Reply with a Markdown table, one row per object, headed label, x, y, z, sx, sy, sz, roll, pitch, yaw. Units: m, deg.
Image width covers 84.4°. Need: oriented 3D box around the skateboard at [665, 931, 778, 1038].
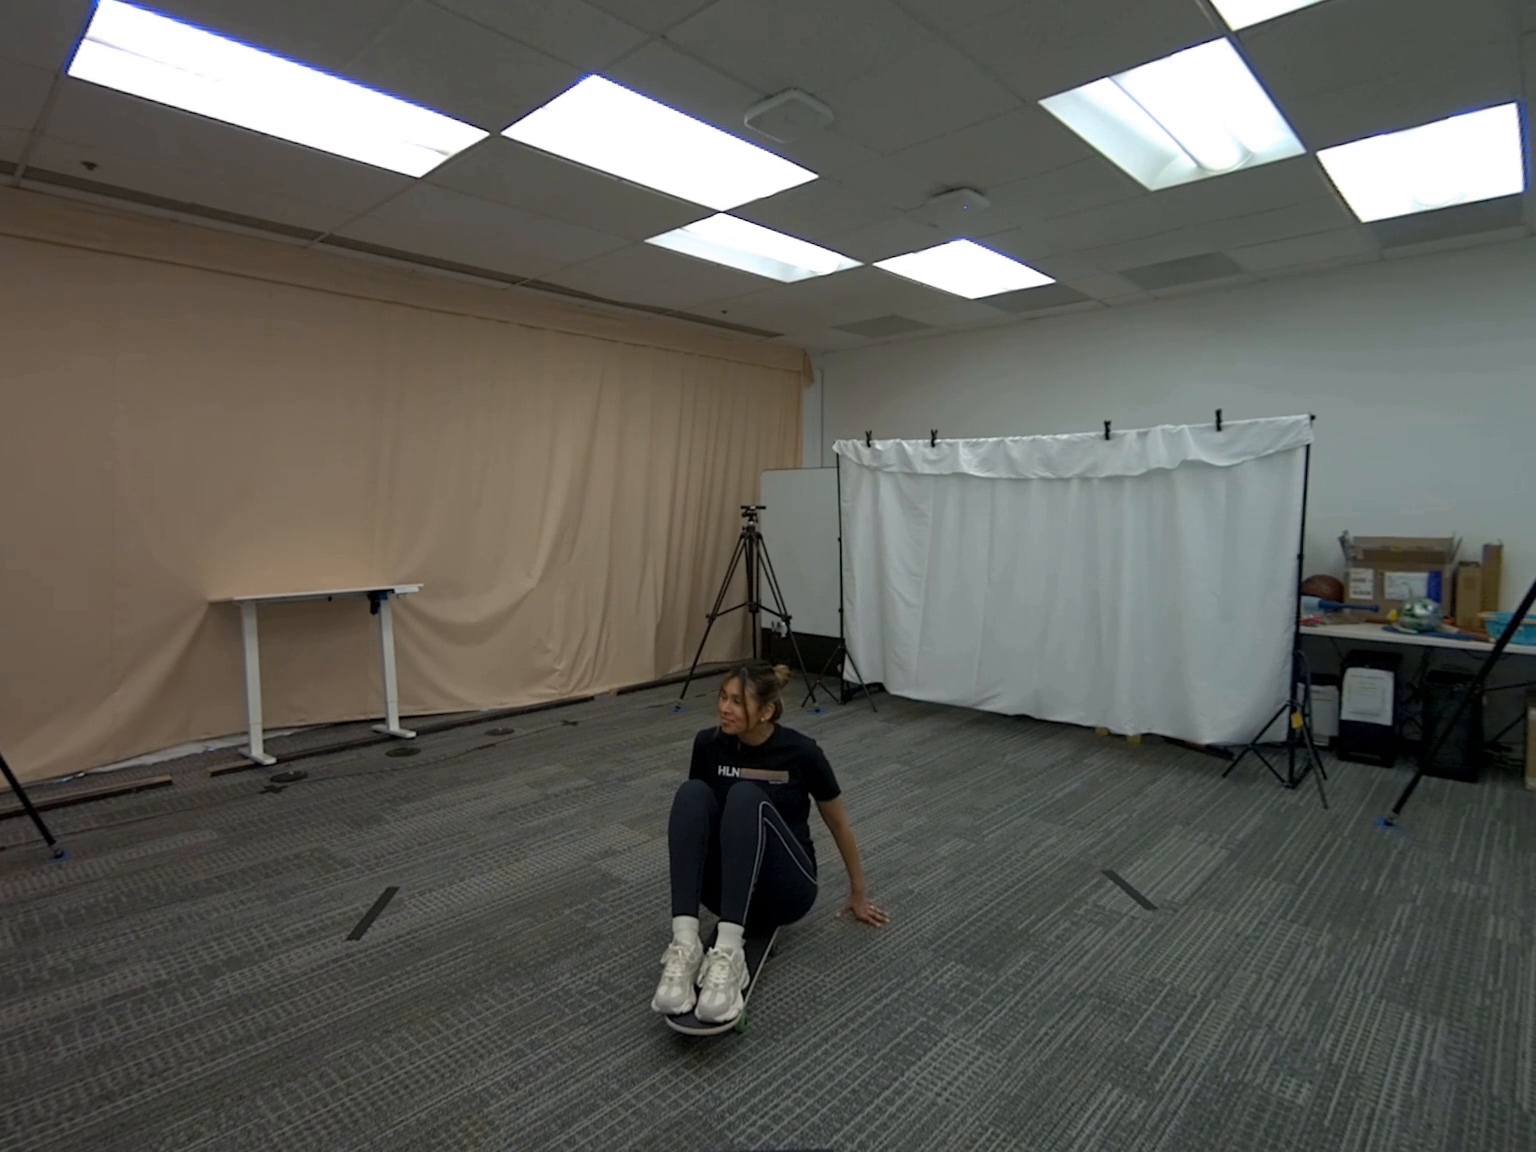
| label | x | y | z | sx | sy | sz | roll | pitch | yaw |
| --- | --- | --- | --- | --- | --- | --- | --- | --- | --- |
| skateboard | -0.111 | 1.133 | 2.453 | 0.196 | 0.110 | 0.775 | -3 | 4 | 13 |
